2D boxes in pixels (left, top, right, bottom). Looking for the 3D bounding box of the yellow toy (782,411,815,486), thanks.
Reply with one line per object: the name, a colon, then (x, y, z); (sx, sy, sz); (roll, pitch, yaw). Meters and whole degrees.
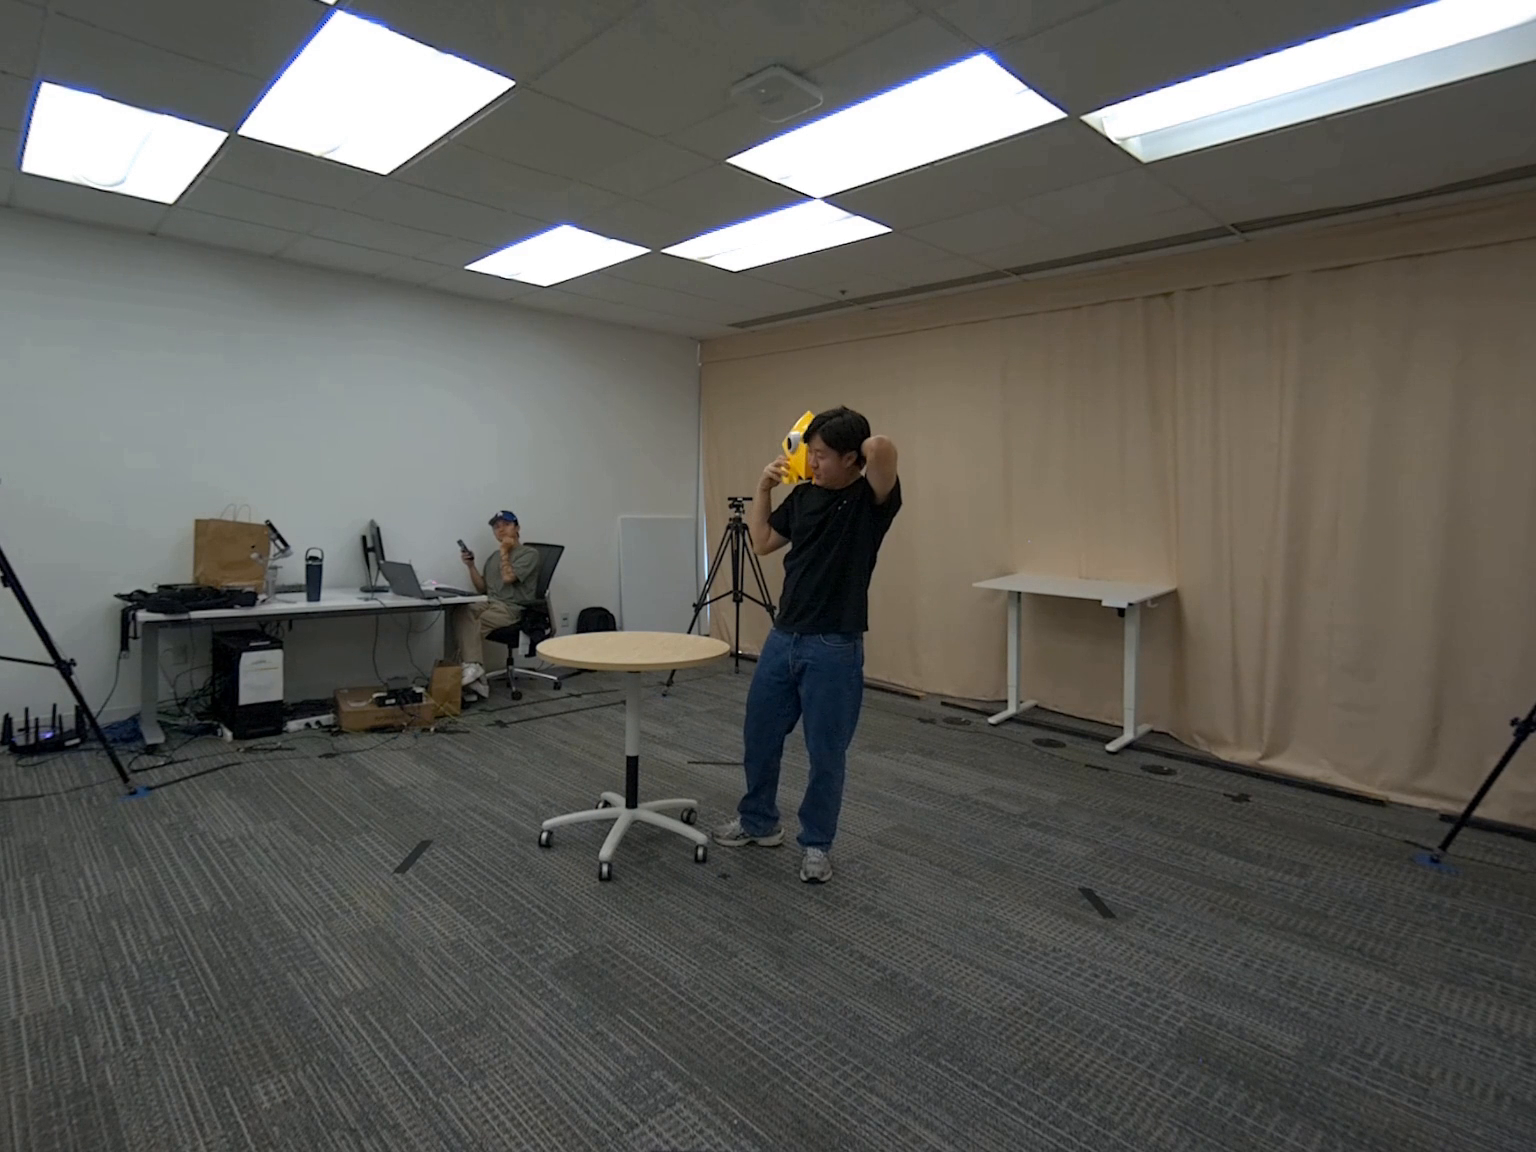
yellow toy: (0.142, -0.482, 3.122); (0.206, 0.226, 0.195); (5, 32, 7)
